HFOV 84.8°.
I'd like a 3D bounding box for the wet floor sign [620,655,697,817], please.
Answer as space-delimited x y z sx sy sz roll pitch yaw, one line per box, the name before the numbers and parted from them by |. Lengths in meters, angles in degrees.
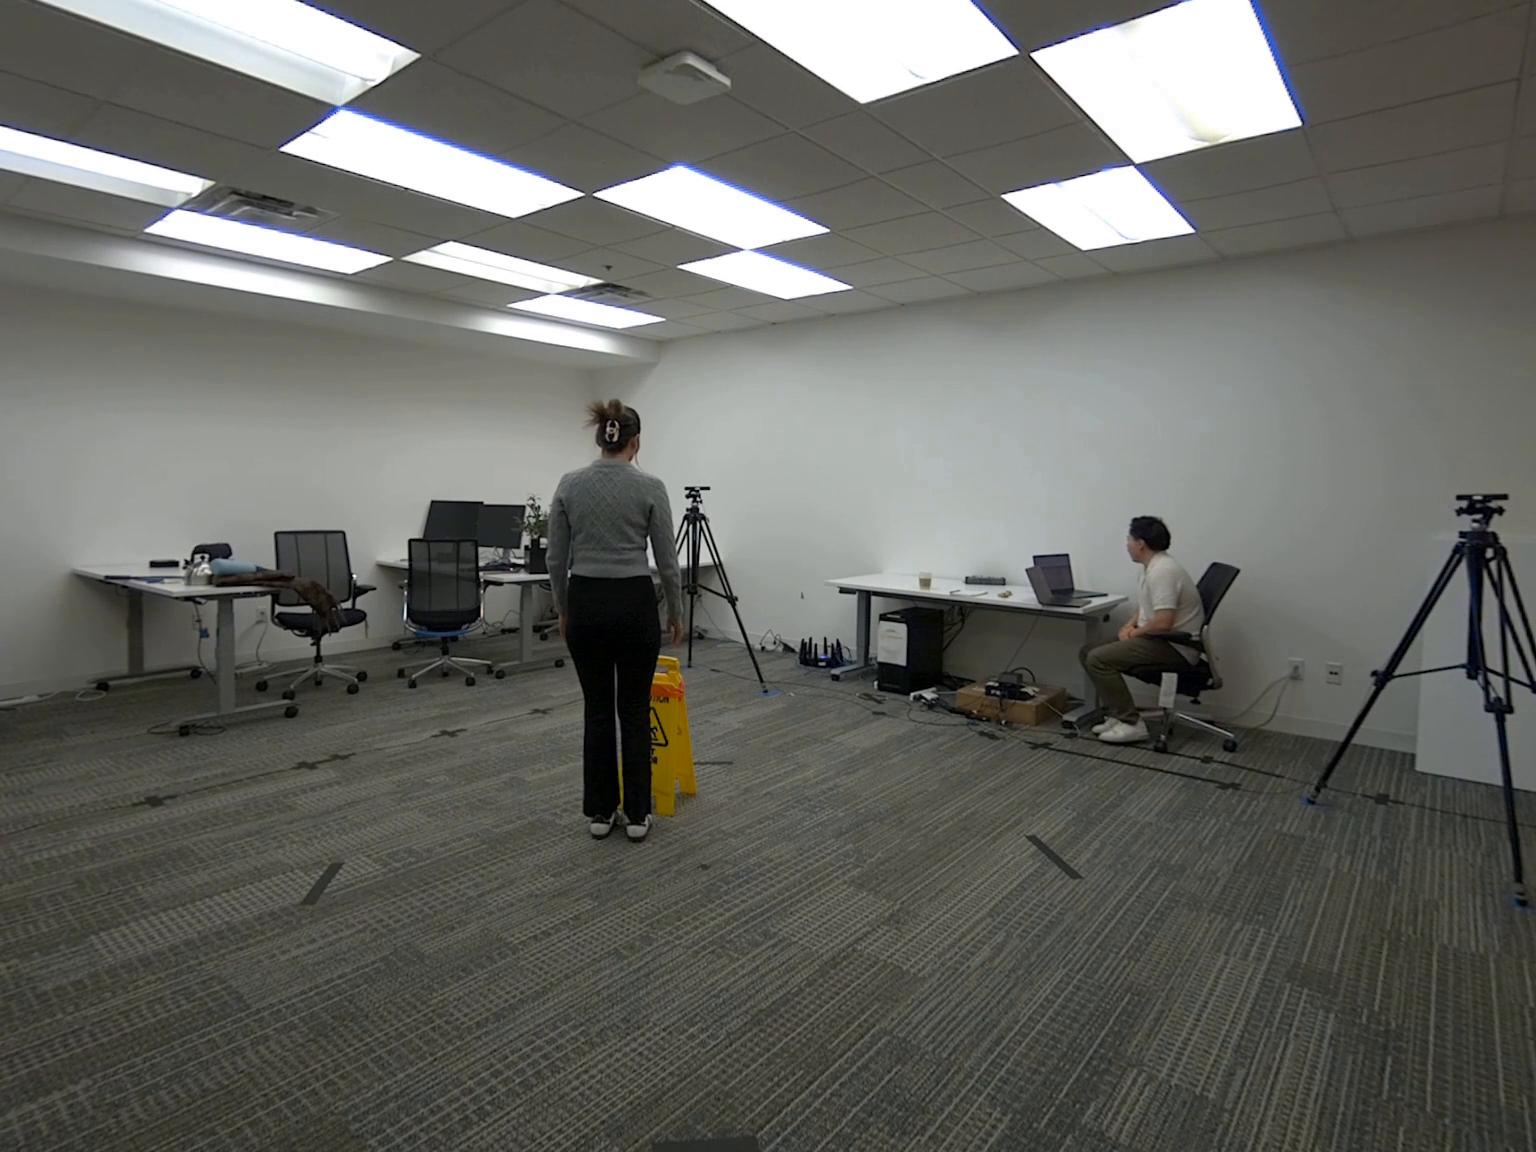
wet floor sign | -0.505 0.675 3.768 0.288 0.645 0.284 2 2 18
